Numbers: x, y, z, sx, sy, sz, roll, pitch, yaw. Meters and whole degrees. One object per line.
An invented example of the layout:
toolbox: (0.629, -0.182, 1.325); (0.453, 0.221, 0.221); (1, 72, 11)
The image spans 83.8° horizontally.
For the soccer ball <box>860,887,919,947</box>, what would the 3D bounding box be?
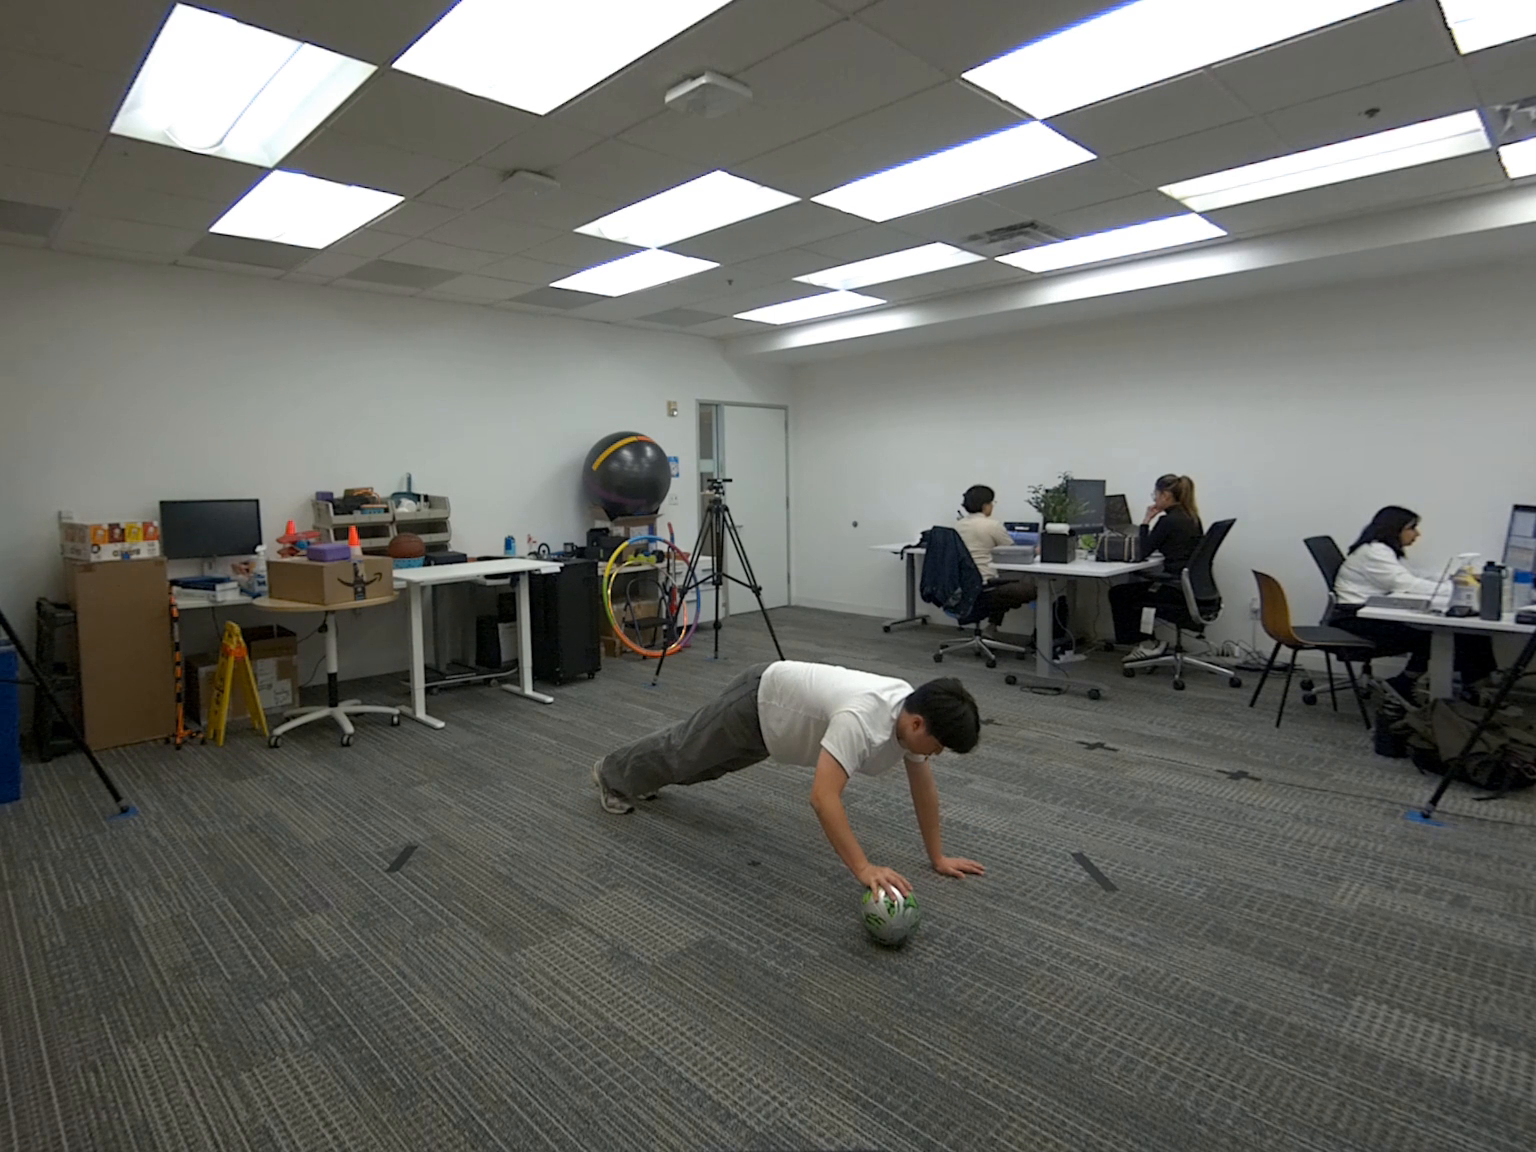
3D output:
soccer ball: (0.372, 1.011, 2.578); (0.187, 0.187, 0.188); (-1, 5, -2)
